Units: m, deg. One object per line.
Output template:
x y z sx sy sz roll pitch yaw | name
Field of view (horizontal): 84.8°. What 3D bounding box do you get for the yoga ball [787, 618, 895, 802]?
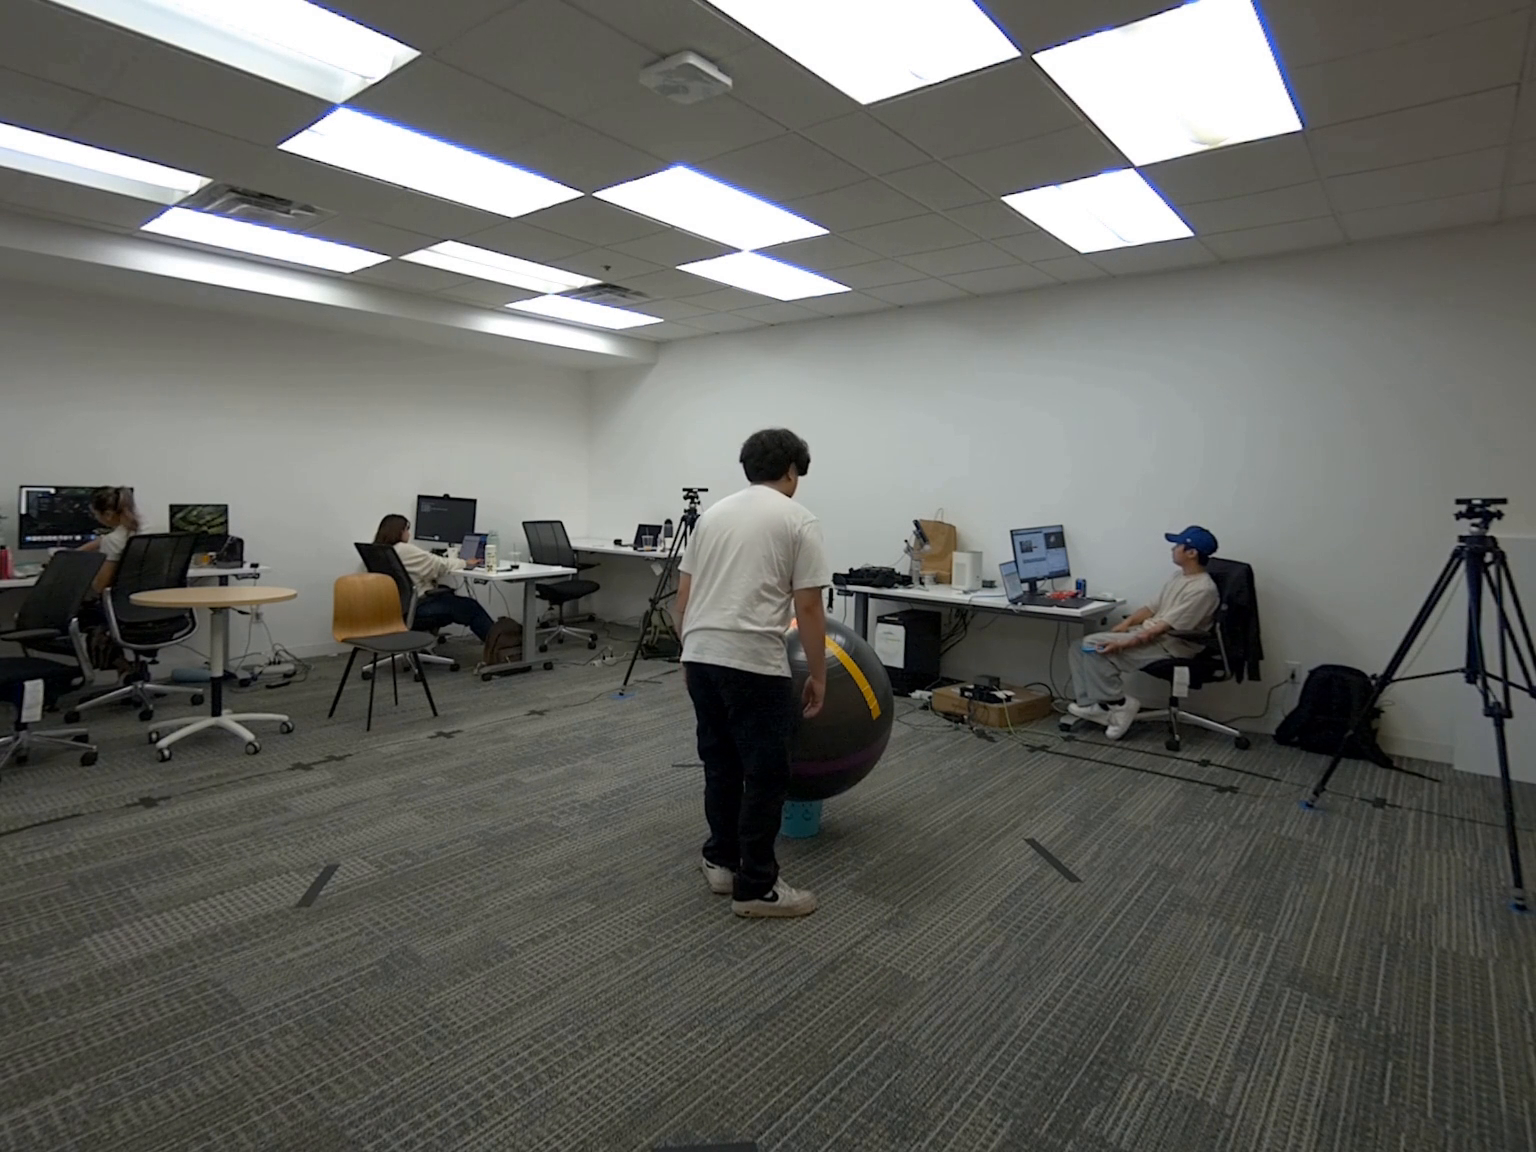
0.126 0.526 3.481 0.757 0.756 0.761 1 4 -2 | yoga ball
